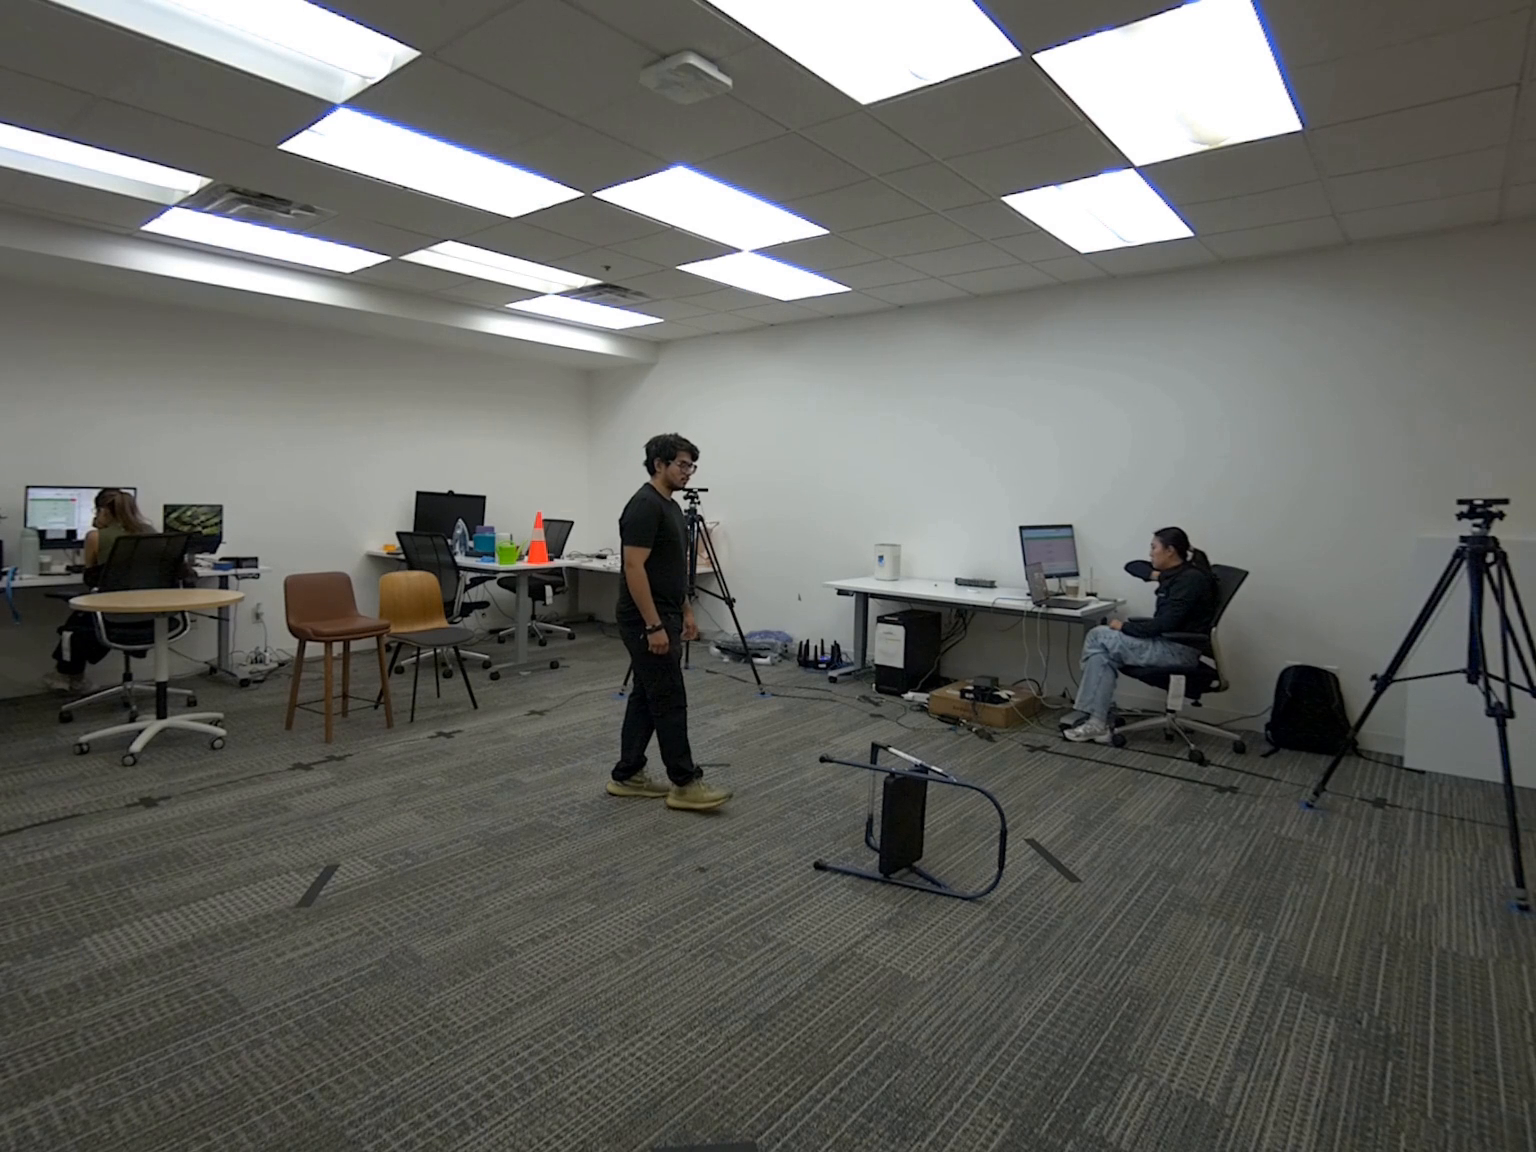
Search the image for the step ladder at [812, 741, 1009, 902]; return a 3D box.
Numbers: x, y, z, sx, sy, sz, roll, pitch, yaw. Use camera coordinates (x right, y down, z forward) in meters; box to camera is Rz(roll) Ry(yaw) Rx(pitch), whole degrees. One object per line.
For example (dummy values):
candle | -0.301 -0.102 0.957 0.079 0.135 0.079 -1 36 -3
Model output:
step ladder | 0.512 0.885 3.032 0.627 0.428 0.339 8 8 42
